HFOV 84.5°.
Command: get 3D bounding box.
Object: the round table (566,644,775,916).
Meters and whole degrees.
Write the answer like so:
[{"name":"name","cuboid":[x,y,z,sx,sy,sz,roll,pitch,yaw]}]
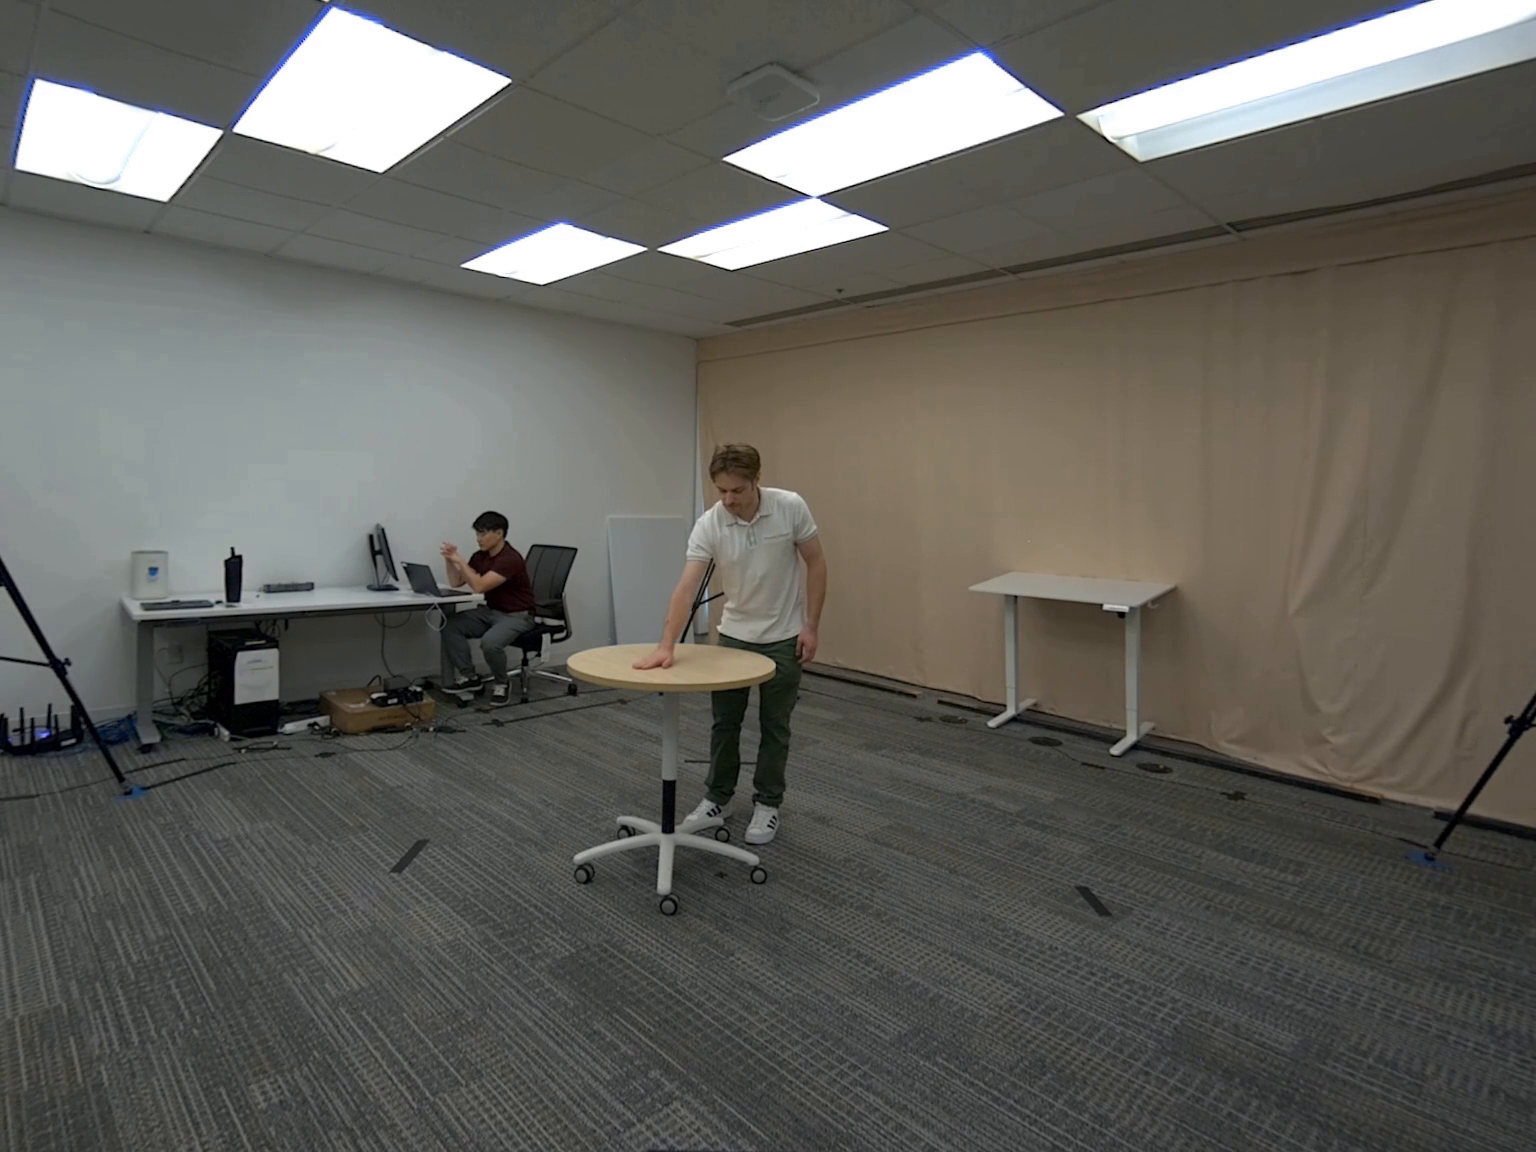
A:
[{"name":"round table","cuboid":[-0.386,0.703,3.121,0.784,0.785,0.787,2,4,-1]}]
